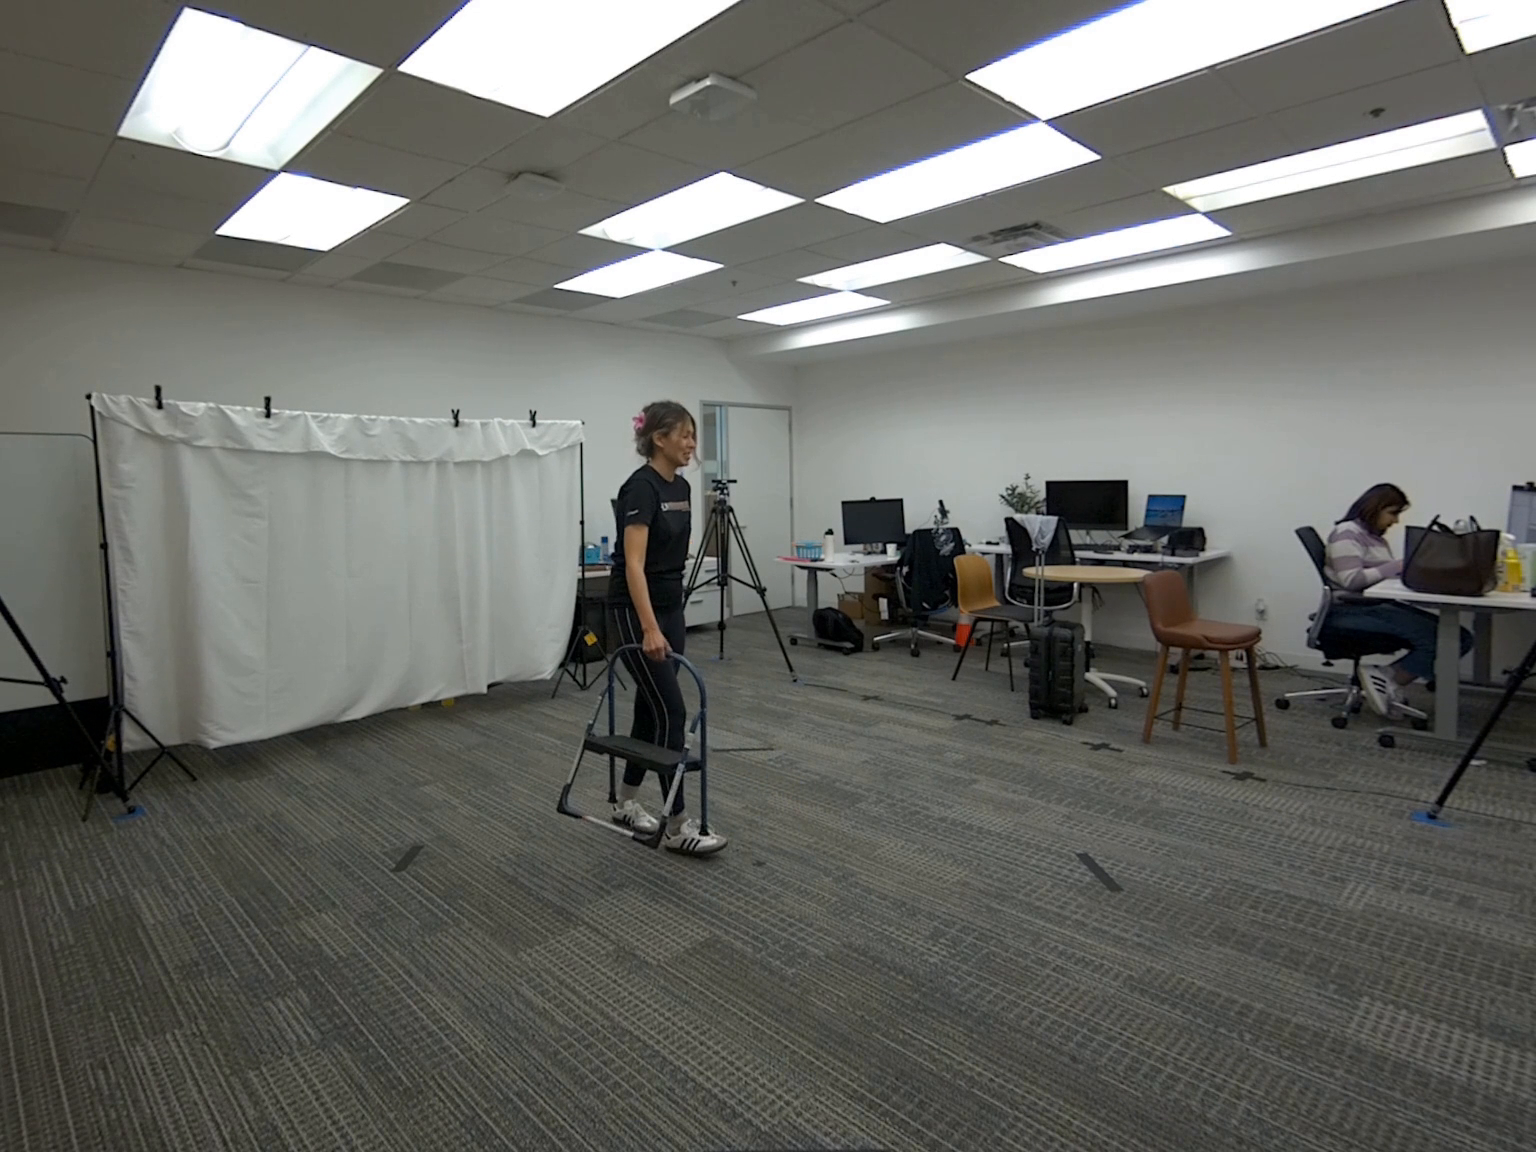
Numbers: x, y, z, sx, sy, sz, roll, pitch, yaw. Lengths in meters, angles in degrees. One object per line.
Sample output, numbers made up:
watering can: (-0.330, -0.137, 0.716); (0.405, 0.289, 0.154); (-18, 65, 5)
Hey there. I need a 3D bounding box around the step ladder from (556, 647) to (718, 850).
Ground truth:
step ladder: (-0.402, 0.559, 2.951); (0.442, 0.608, 0.338); (8, -5, 27)
